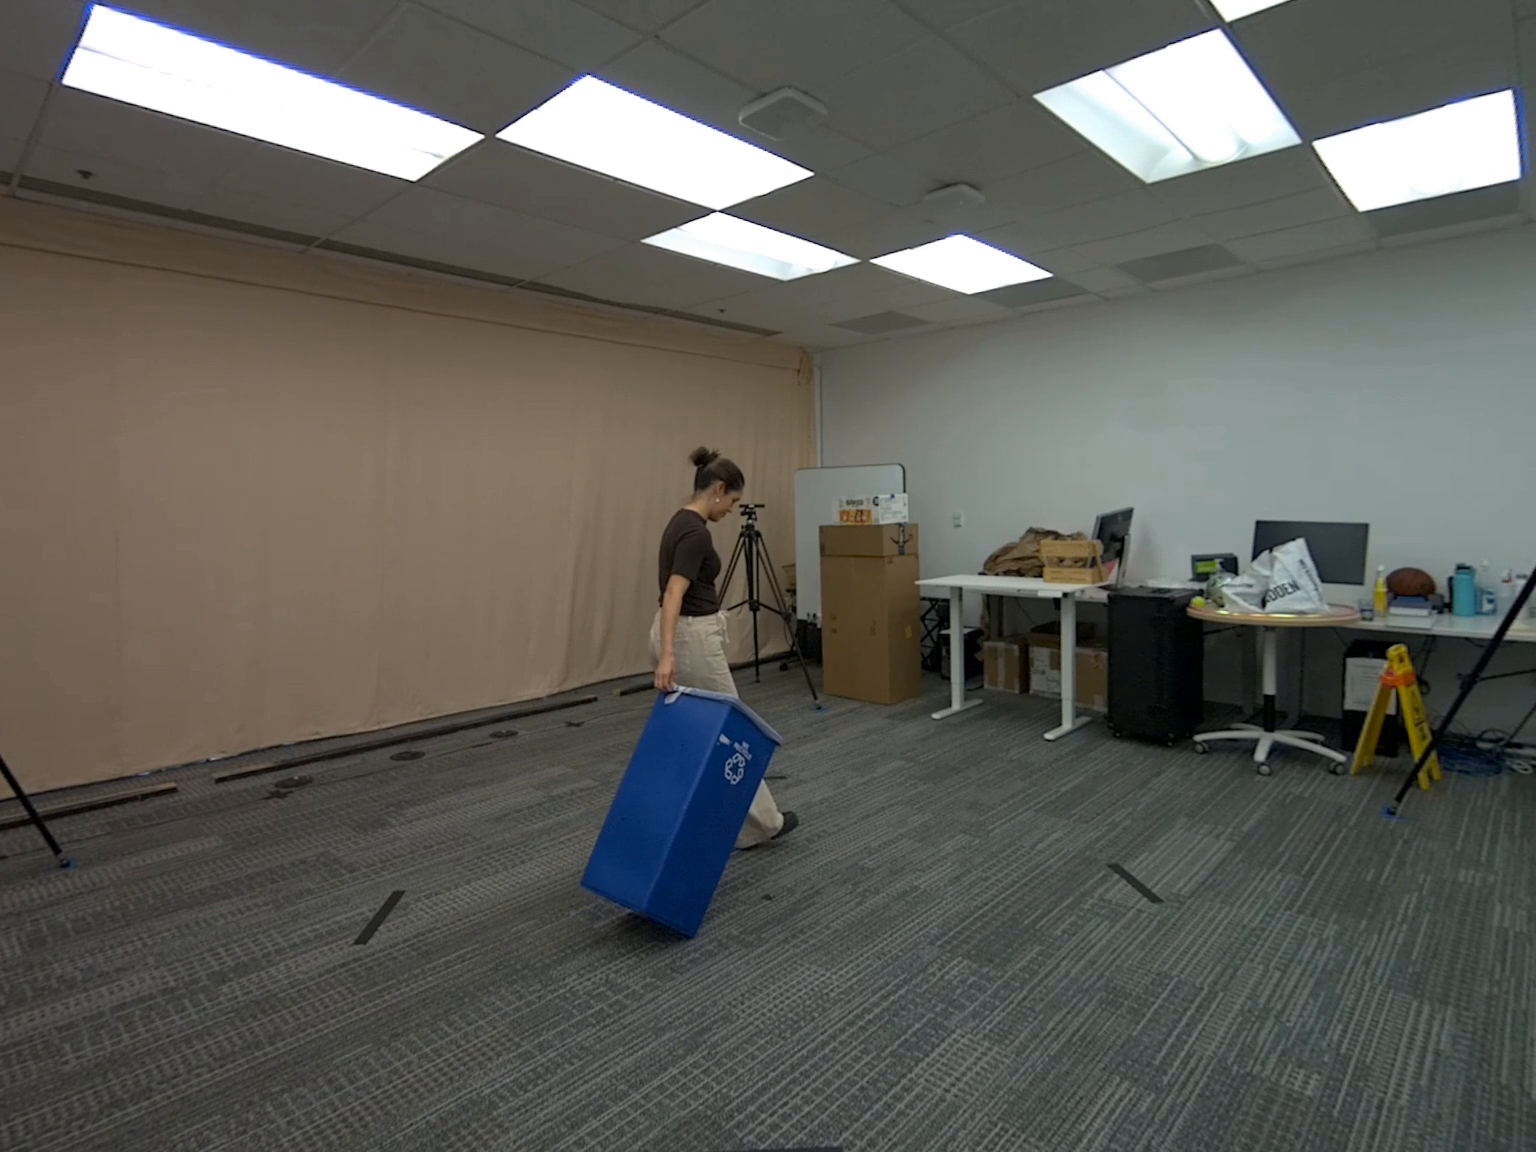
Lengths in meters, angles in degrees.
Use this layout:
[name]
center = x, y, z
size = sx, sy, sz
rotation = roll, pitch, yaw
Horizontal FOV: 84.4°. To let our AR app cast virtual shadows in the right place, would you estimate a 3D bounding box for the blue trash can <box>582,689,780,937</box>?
[blue trash can]
center = -0.290, 0.785, 2.864
size = 0.390, 0.715, 0.361
rotation = 3, -30, 39
